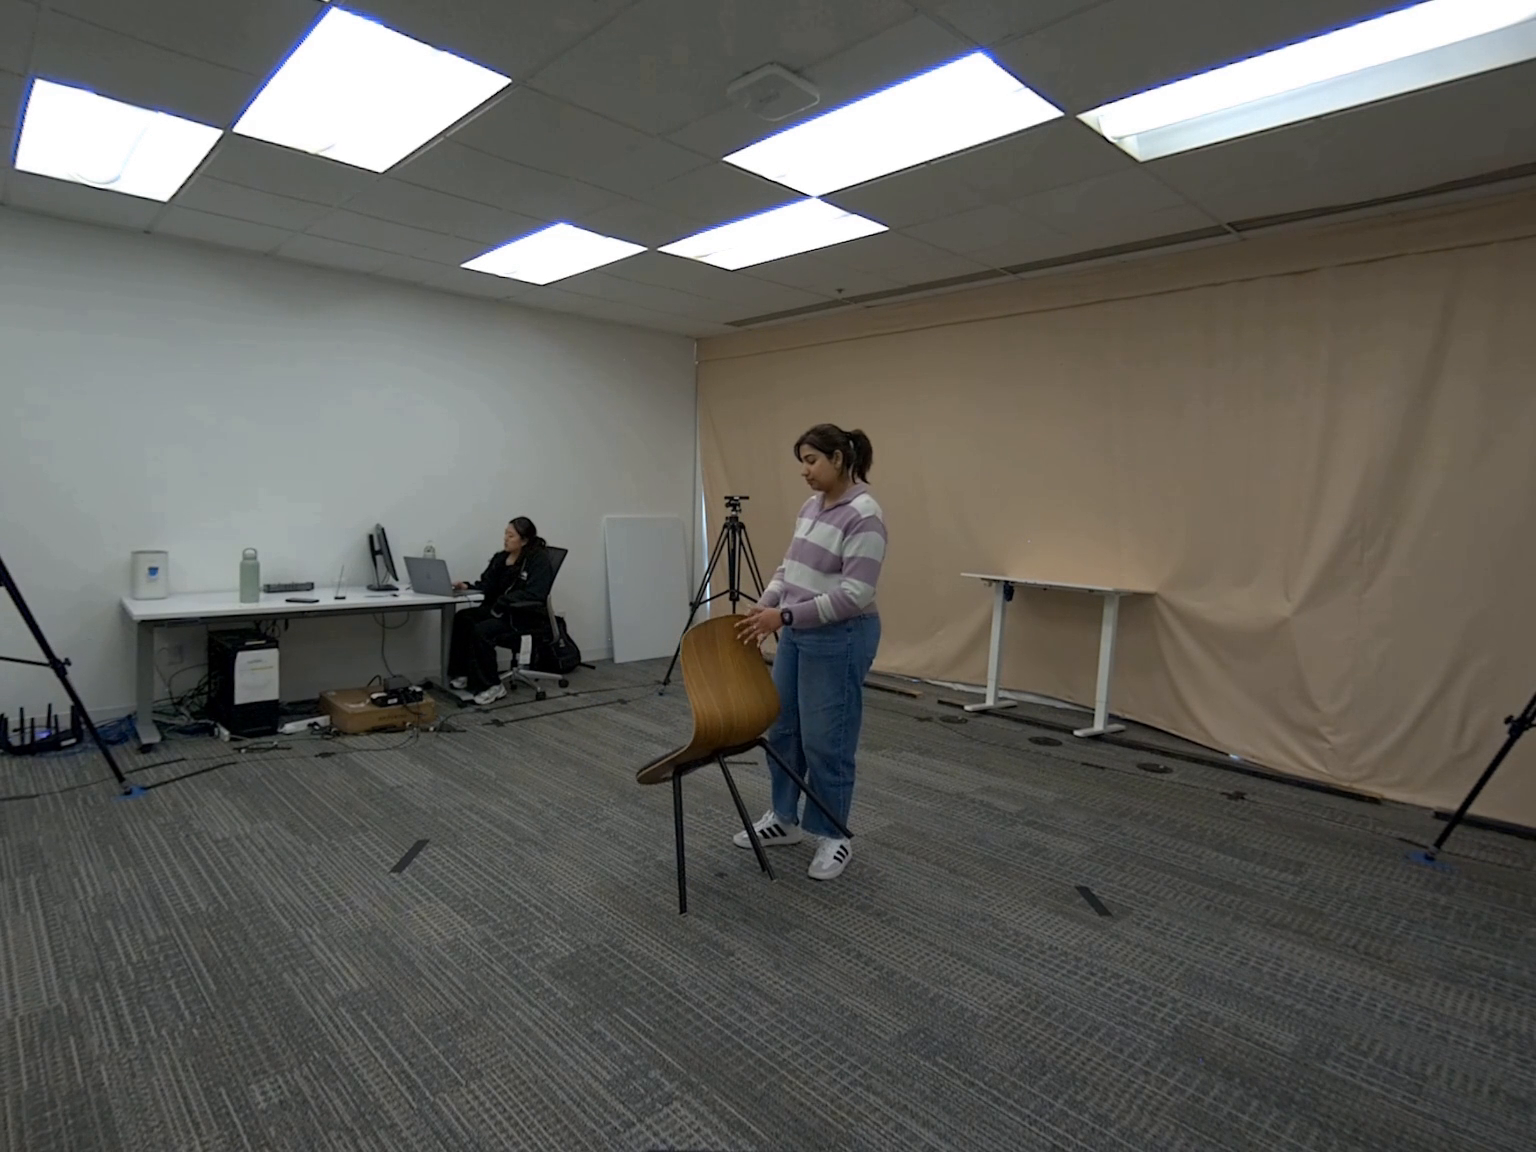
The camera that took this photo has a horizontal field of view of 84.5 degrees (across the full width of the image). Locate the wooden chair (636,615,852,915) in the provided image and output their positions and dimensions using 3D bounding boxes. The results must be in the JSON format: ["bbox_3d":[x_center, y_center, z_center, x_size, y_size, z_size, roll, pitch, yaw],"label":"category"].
[{"bbox_3d":[-0.180,0.640,2.960,0.527,0.889,0.467,-31,-17,36],"label":"wooden chair"}]
